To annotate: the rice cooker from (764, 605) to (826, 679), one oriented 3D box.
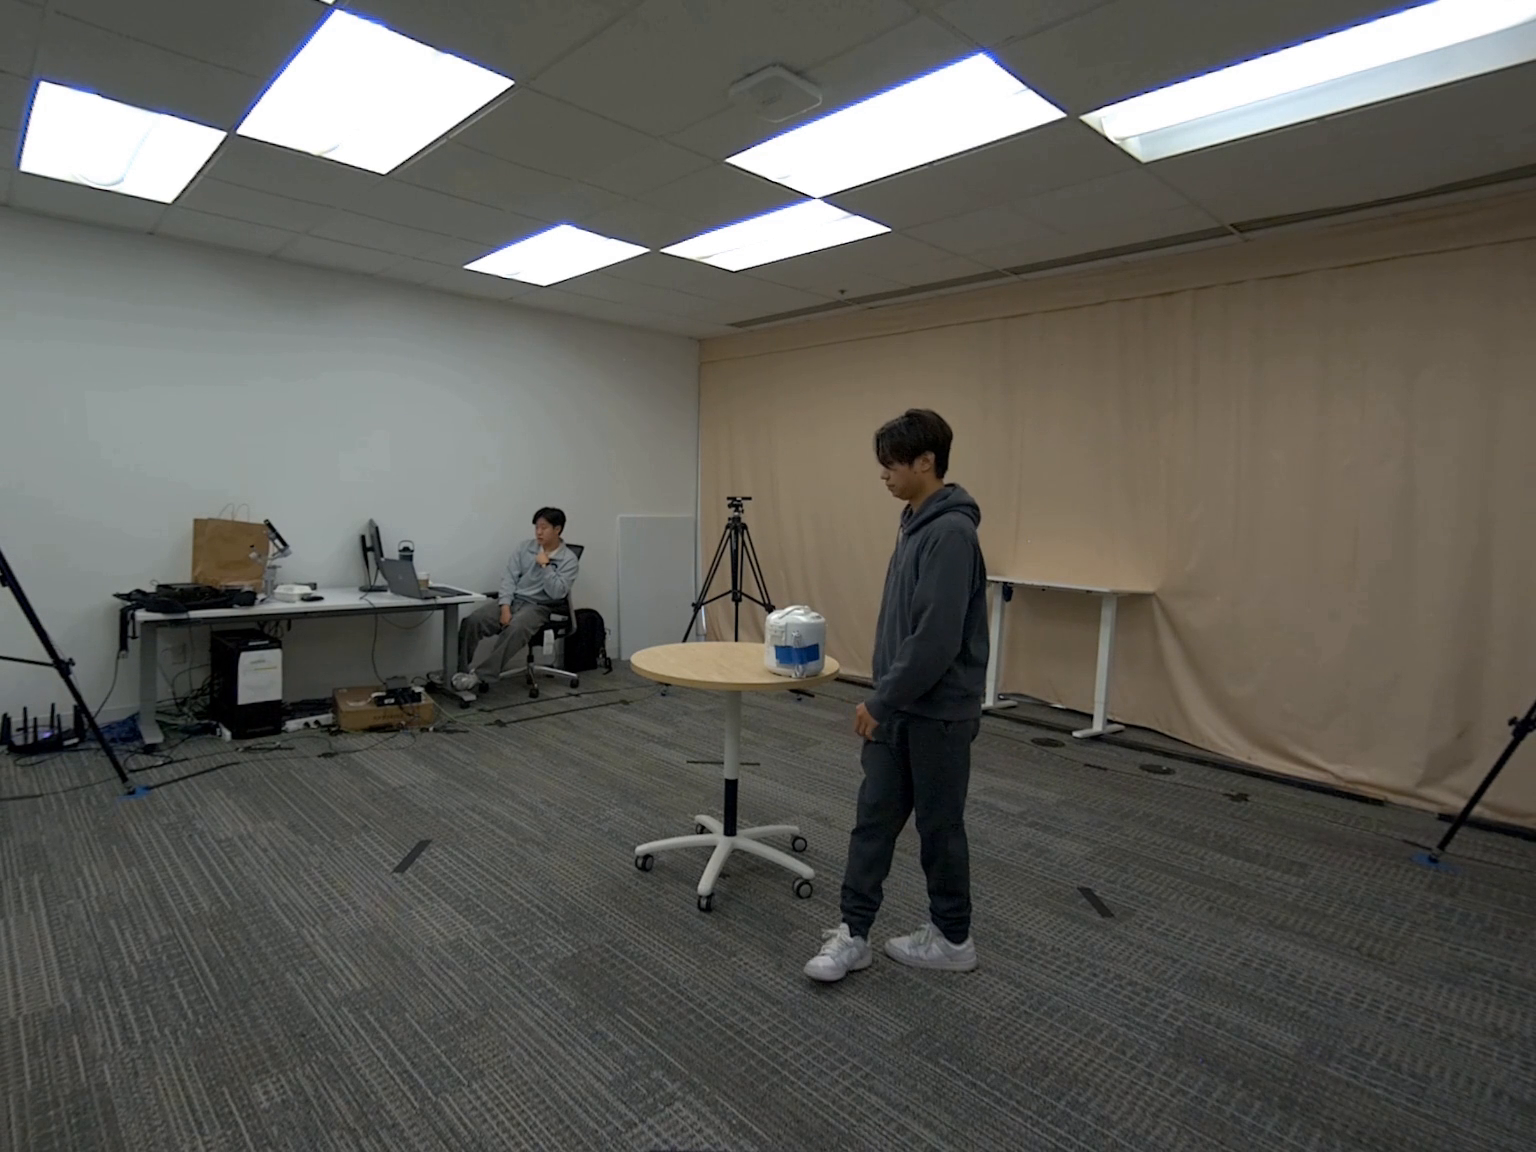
[{"bbox_3d":[0.085,0.219,2.902,0.223,0.232,0.215,8,7,41],"label":"rice cooker"}]
